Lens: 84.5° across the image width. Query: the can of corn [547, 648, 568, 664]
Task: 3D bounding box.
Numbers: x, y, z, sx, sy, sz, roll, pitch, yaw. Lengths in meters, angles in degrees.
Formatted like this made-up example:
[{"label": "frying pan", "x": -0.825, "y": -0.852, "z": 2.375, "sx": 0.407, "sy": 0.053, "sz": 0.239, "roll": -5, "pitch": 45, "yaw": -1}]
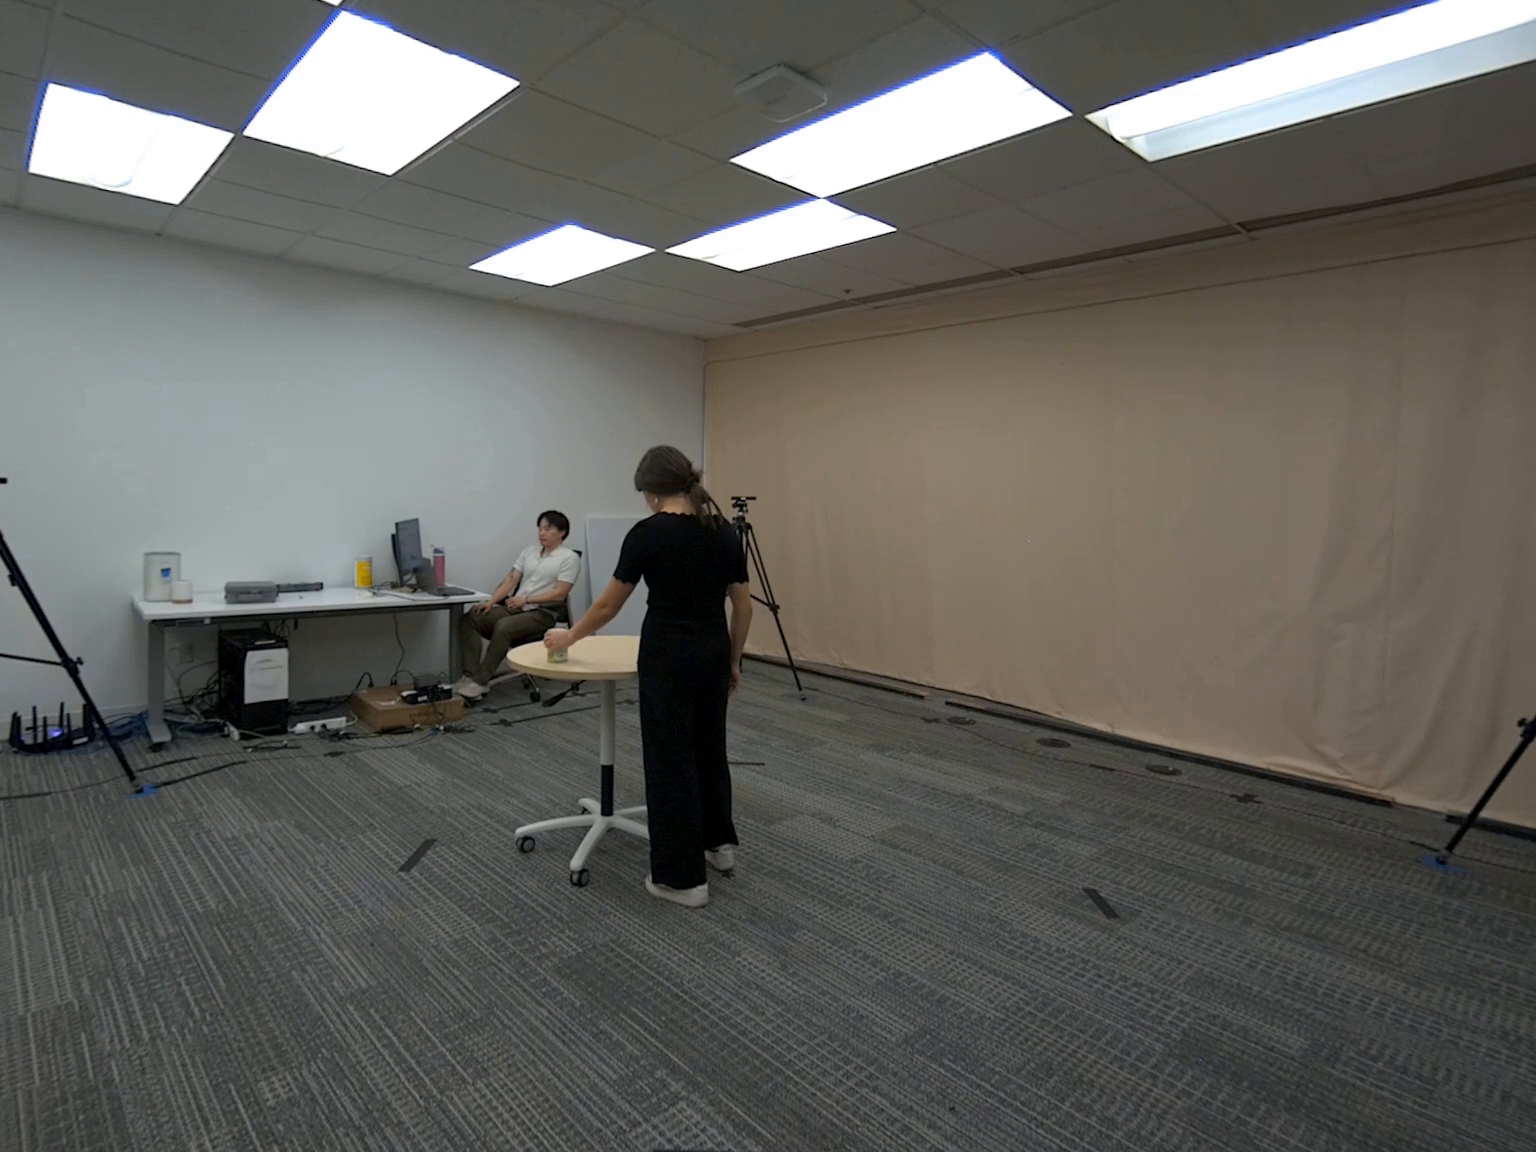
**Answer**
[{"label": "can of corn", "x": -0.773, "y": 0.256, "z": 3.084, "sx": 0.074, "sy": 0.111, "sz": 0.074, "roll": 3, "pitch": 3, "yaw": -2}]
